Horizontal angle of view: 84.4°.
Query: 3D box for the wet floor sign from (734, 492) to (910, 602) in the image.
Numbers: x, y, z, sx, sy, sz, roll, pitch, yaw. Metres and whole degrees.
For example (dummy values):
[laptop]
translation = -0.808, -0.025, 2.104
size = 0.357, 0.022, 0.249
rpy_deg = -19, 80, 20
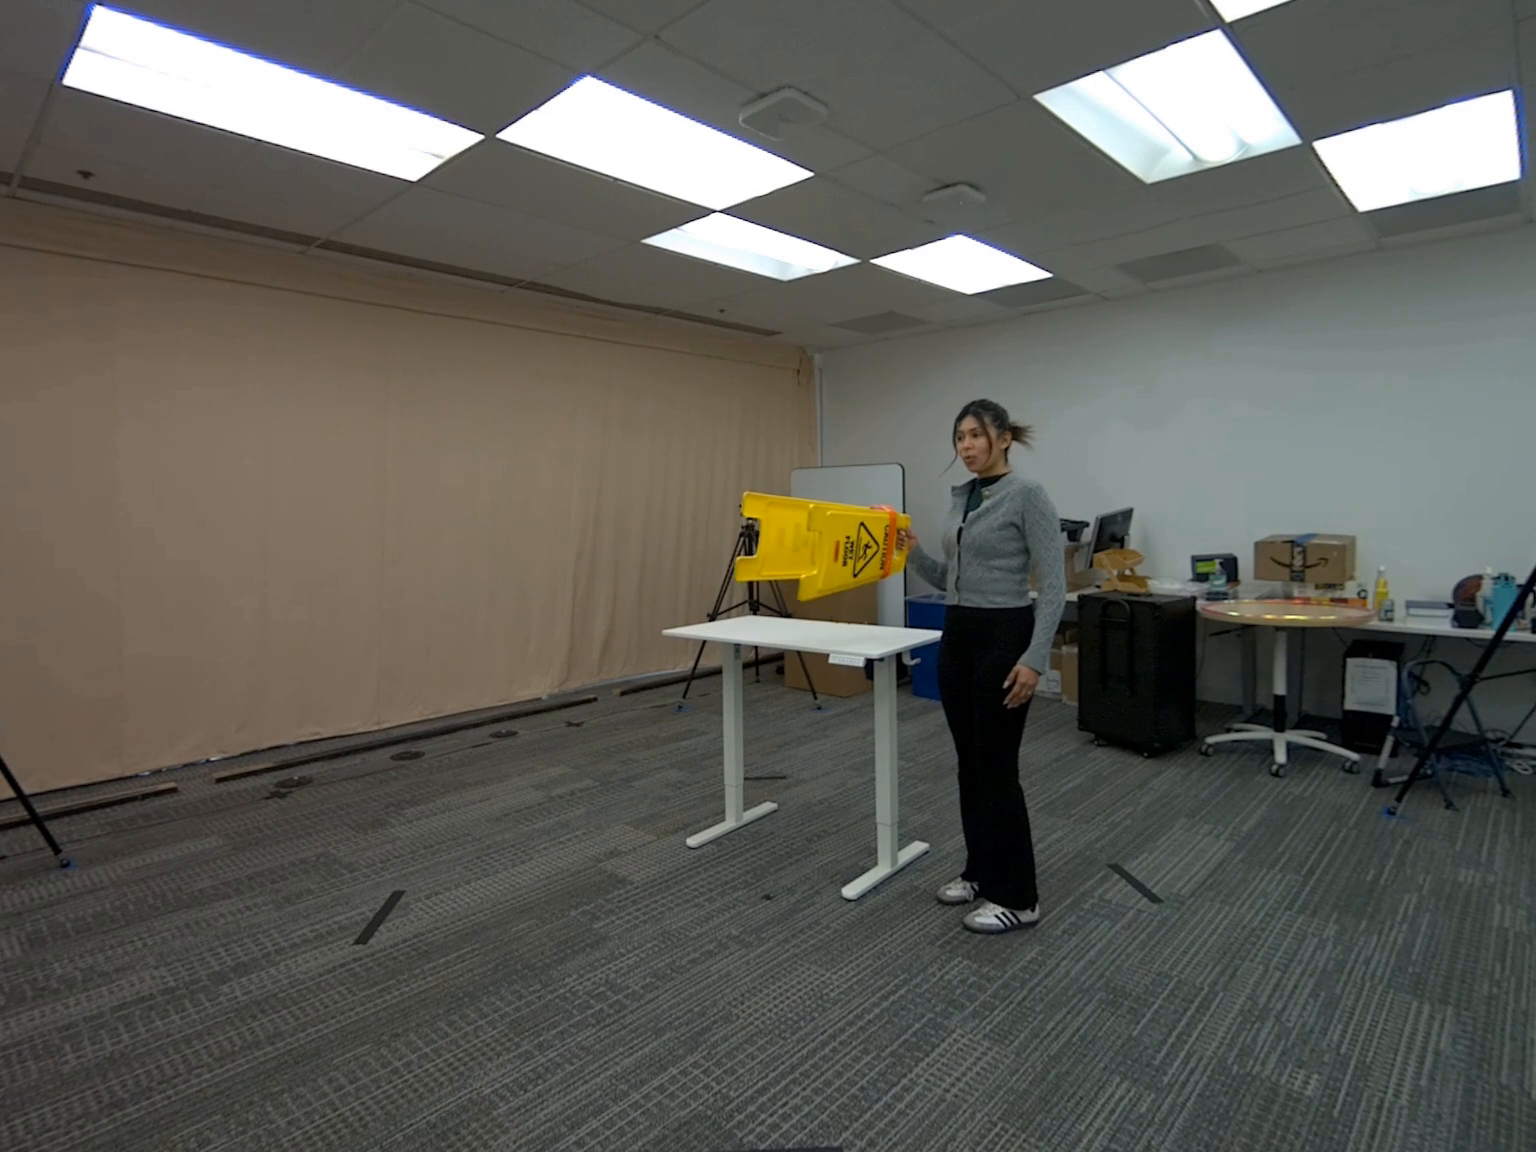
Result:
[wet floor sign]
translation = 0.245, -0.101, 2.709
size = 0.626, 0.281, 0.300
rpy_deg = -2, 13, -41
